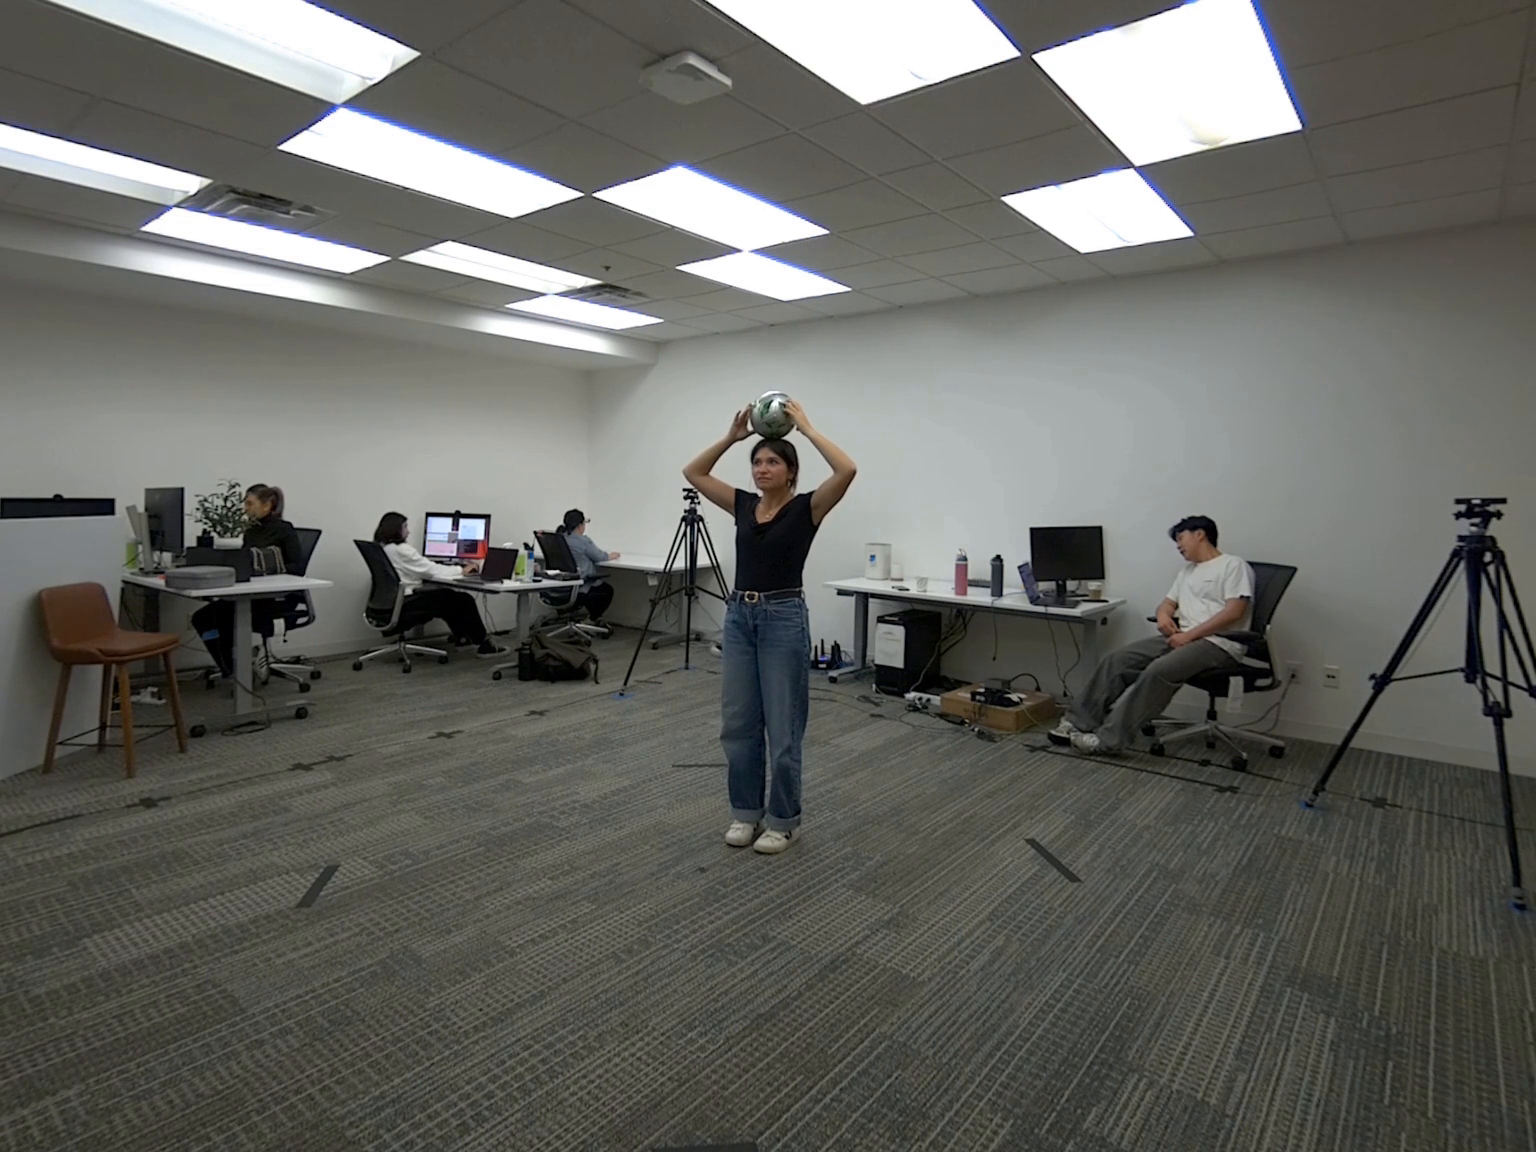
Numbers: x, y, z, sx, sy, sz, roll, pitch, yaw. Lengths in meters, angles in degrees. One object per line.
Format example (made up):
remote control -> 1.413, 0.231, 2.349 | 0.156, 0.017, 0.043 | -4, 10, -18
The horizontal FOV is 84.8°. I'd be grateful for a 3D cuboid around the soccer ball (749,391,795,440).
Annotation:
soccer ball -> 0.016, -0.634, 3.318 | 0.187, 0.187, 0.188 | 1, 4, -2
